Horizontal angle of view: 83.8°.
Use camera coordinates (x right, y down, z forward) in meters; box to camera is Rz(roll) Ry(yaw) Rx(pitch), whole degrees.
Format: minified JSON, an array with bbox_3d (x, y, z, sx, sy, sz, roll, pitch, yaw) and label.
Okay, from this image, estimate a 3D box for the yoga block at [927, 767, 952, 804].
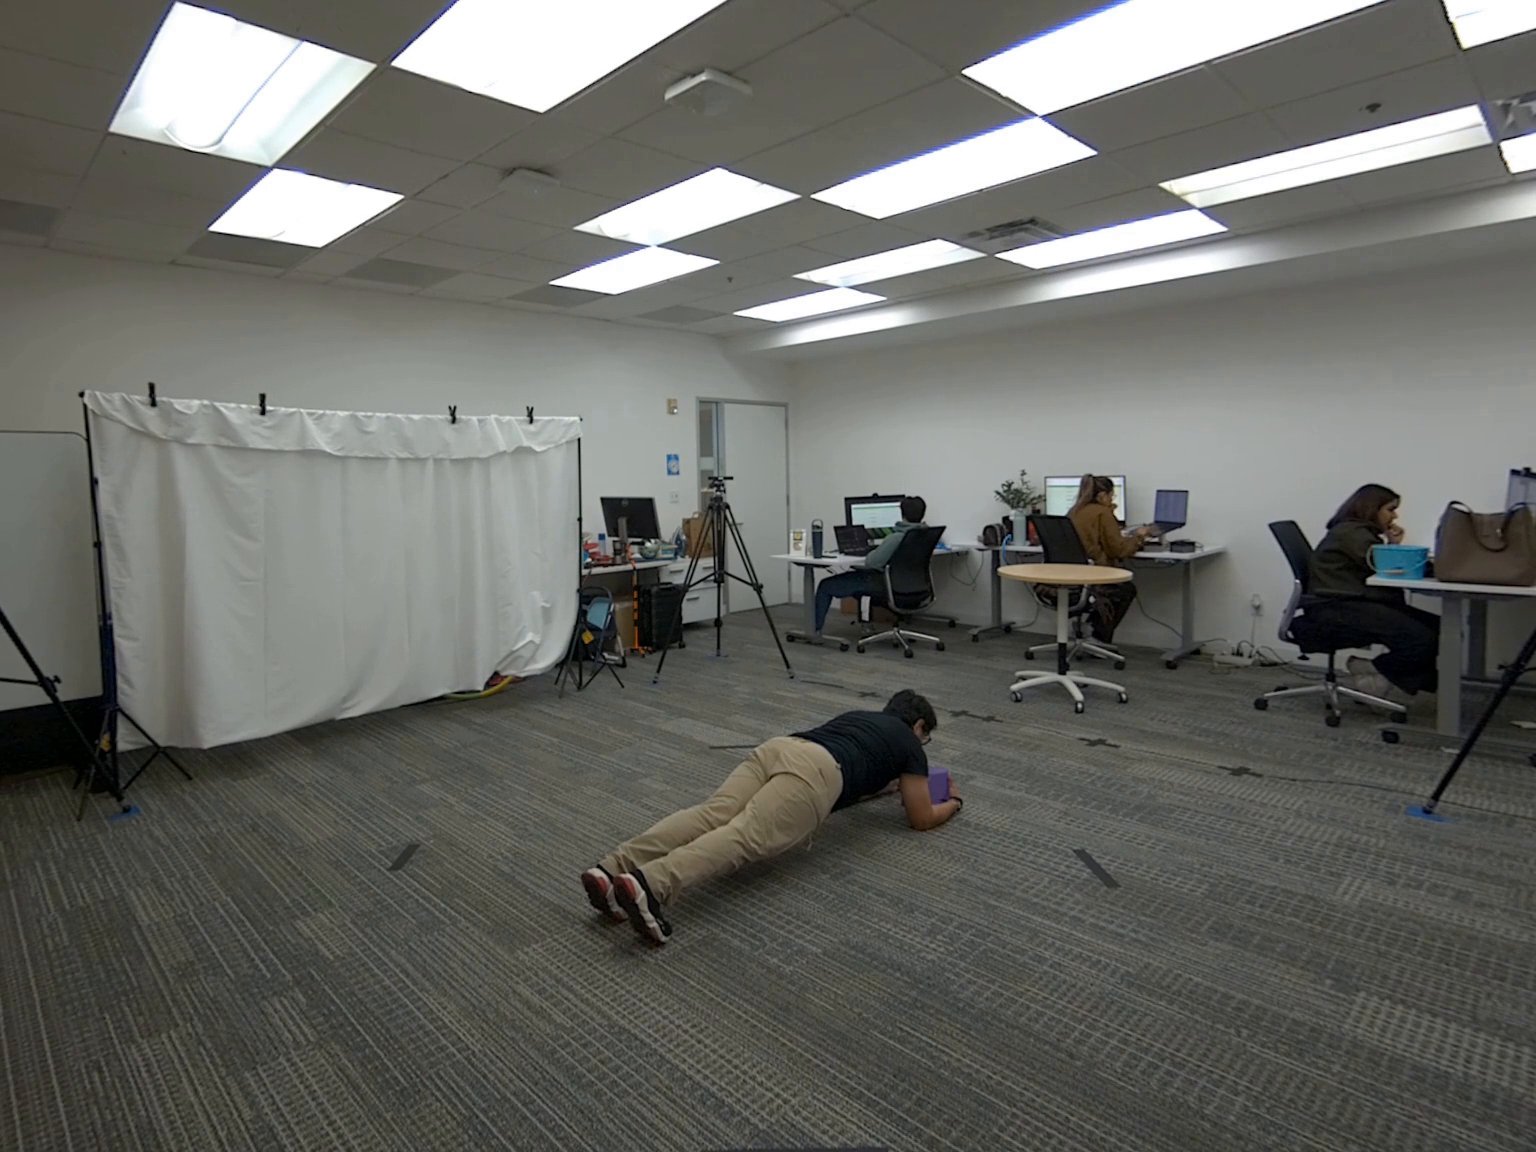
[{"bbox_3d":[0.647,0.866,3.501,0.222,0.149,0.079,5,-1,-39],"label":"yoga block"}]
